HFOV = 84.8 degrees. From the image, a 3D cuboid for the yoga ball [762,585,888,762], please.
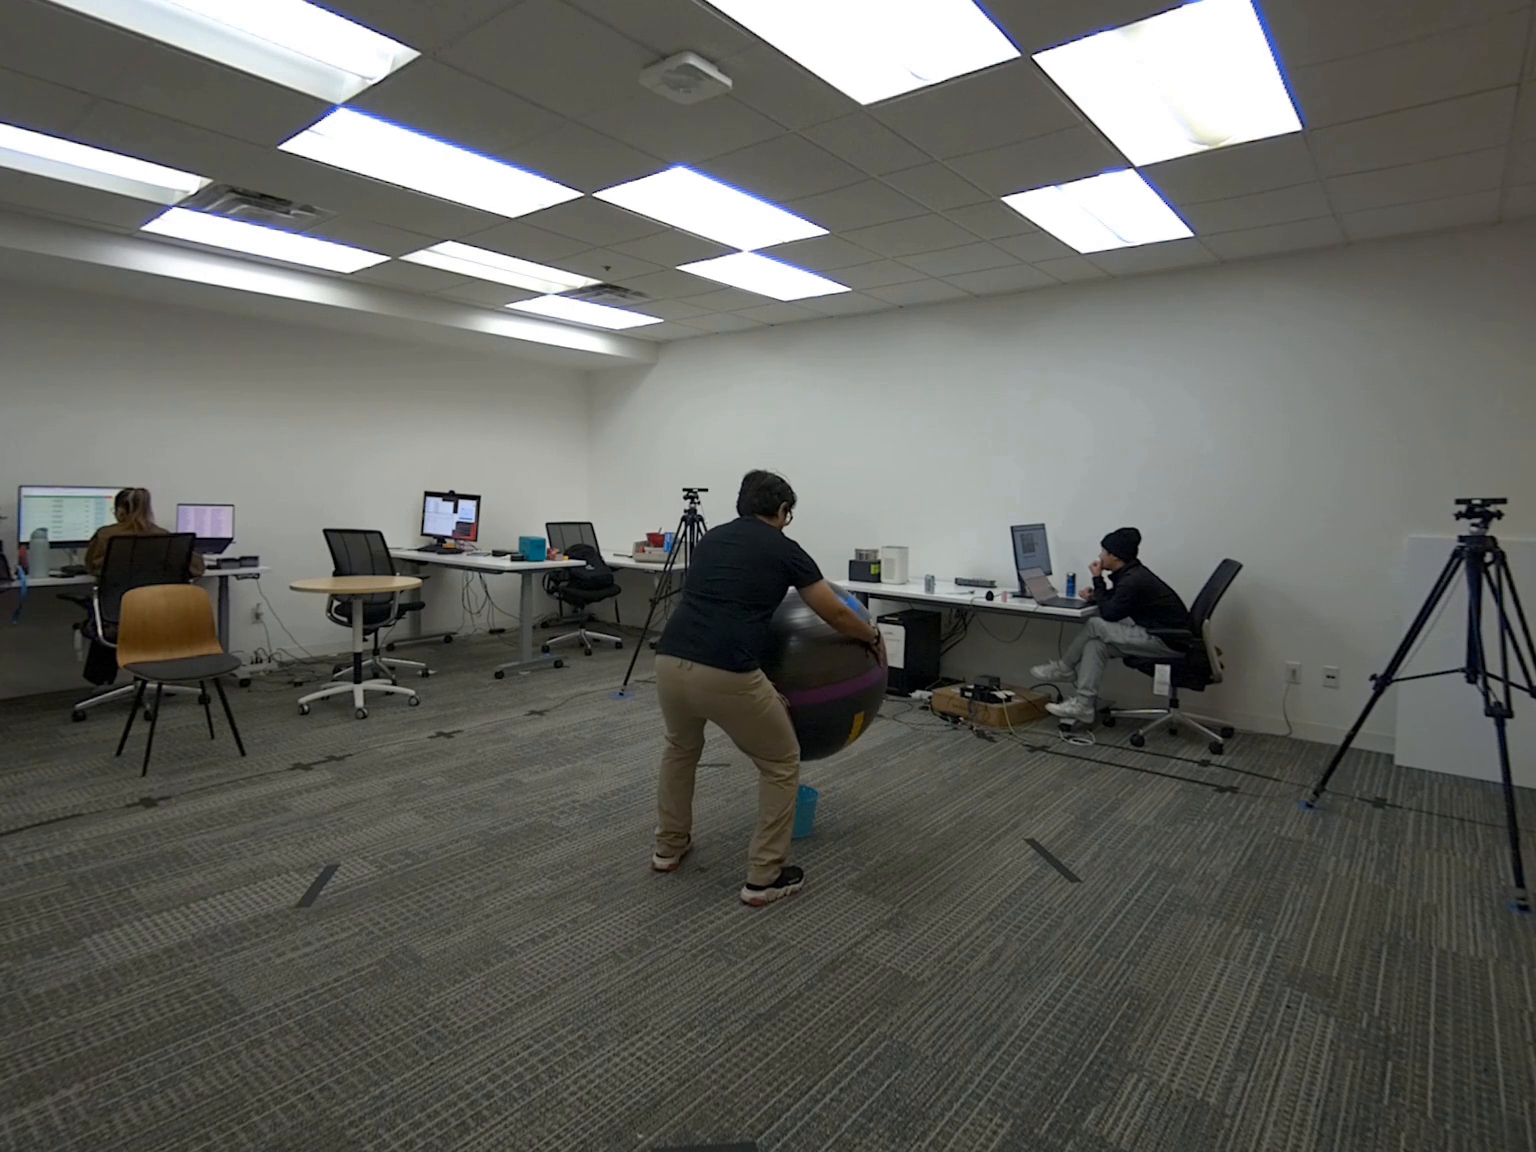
[{"bbox_3d":[0.118,0.372,3.508,0.757,0.755,0.762,1,4,-2],"label":"yoga ball"}]
